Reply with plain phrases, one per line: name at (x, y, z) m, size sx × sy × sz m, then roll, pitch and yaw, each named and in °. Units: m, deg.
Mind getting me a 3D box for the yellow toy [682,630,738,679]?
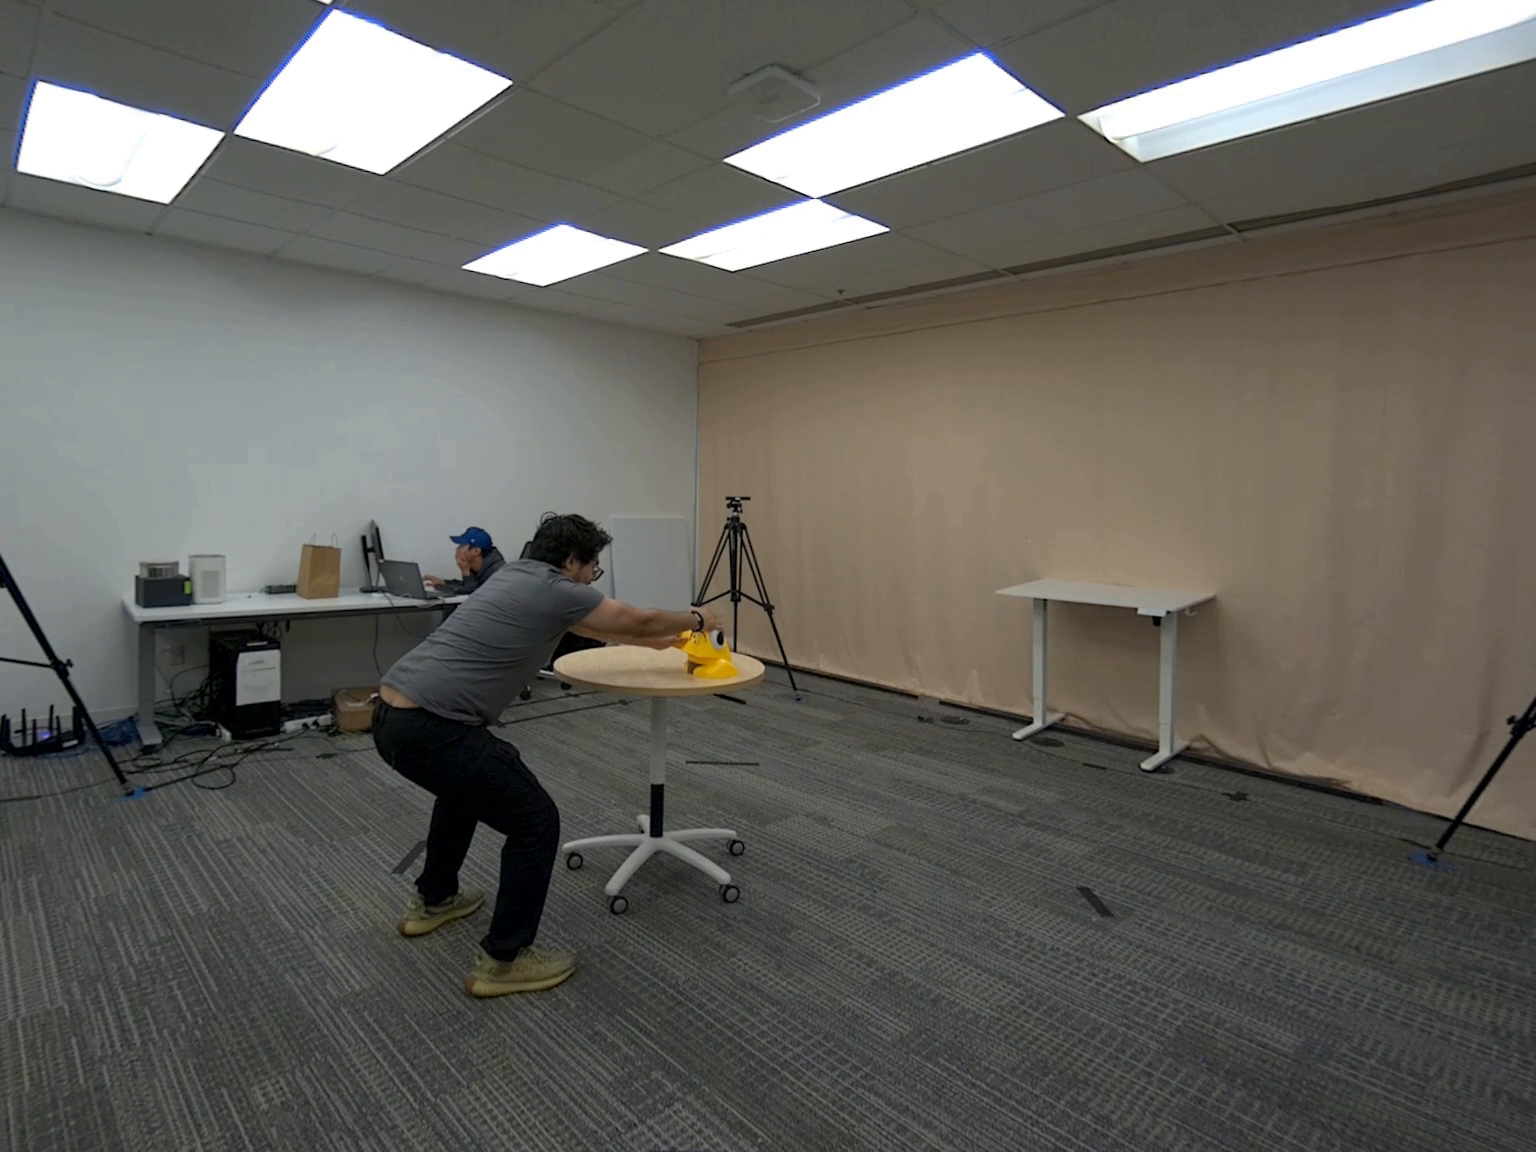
yellow toy at (-0.218, 0.229, 2.960) m, size 0.189 × 0.230 × 0.209 m, roll -1°, pitch 5°, yaw -30°
